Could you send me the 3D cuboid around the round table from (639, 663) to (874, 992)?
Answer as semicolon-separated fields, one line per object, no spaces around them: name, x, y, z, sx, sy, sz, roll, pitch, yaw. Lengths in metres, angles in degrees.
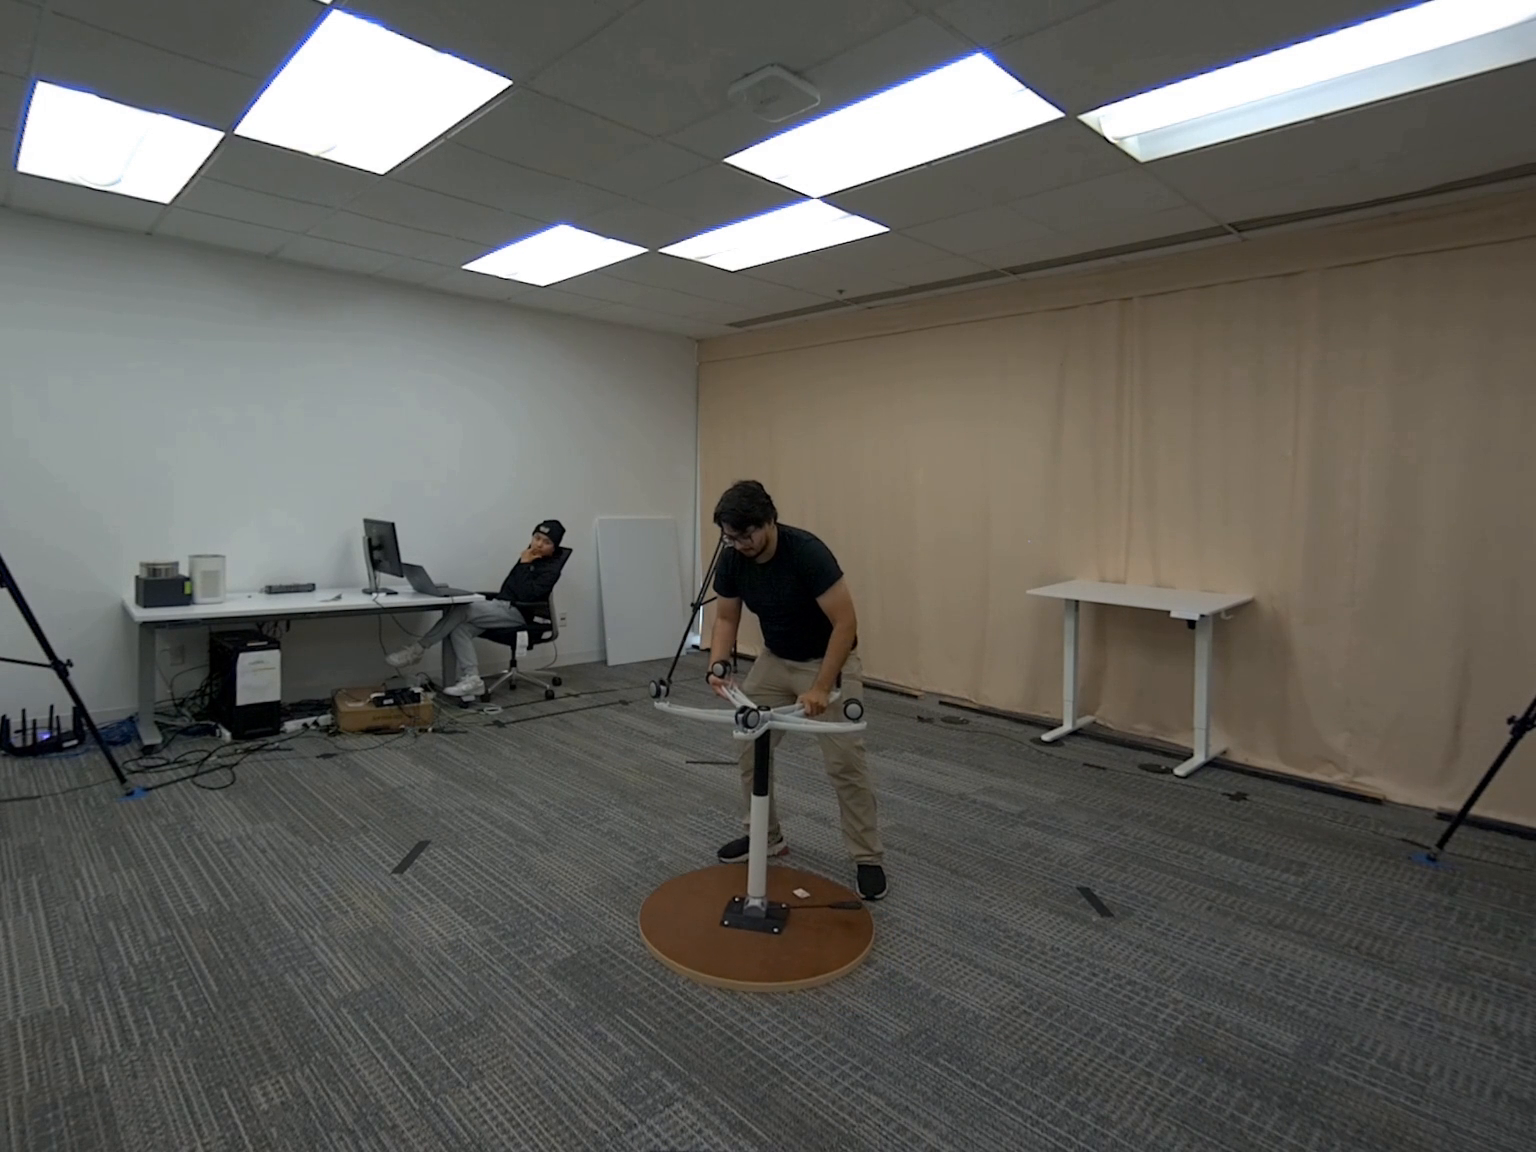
round table;-0.034;0.743;2.721;0.784;0.785;0.787;1;4;-1
